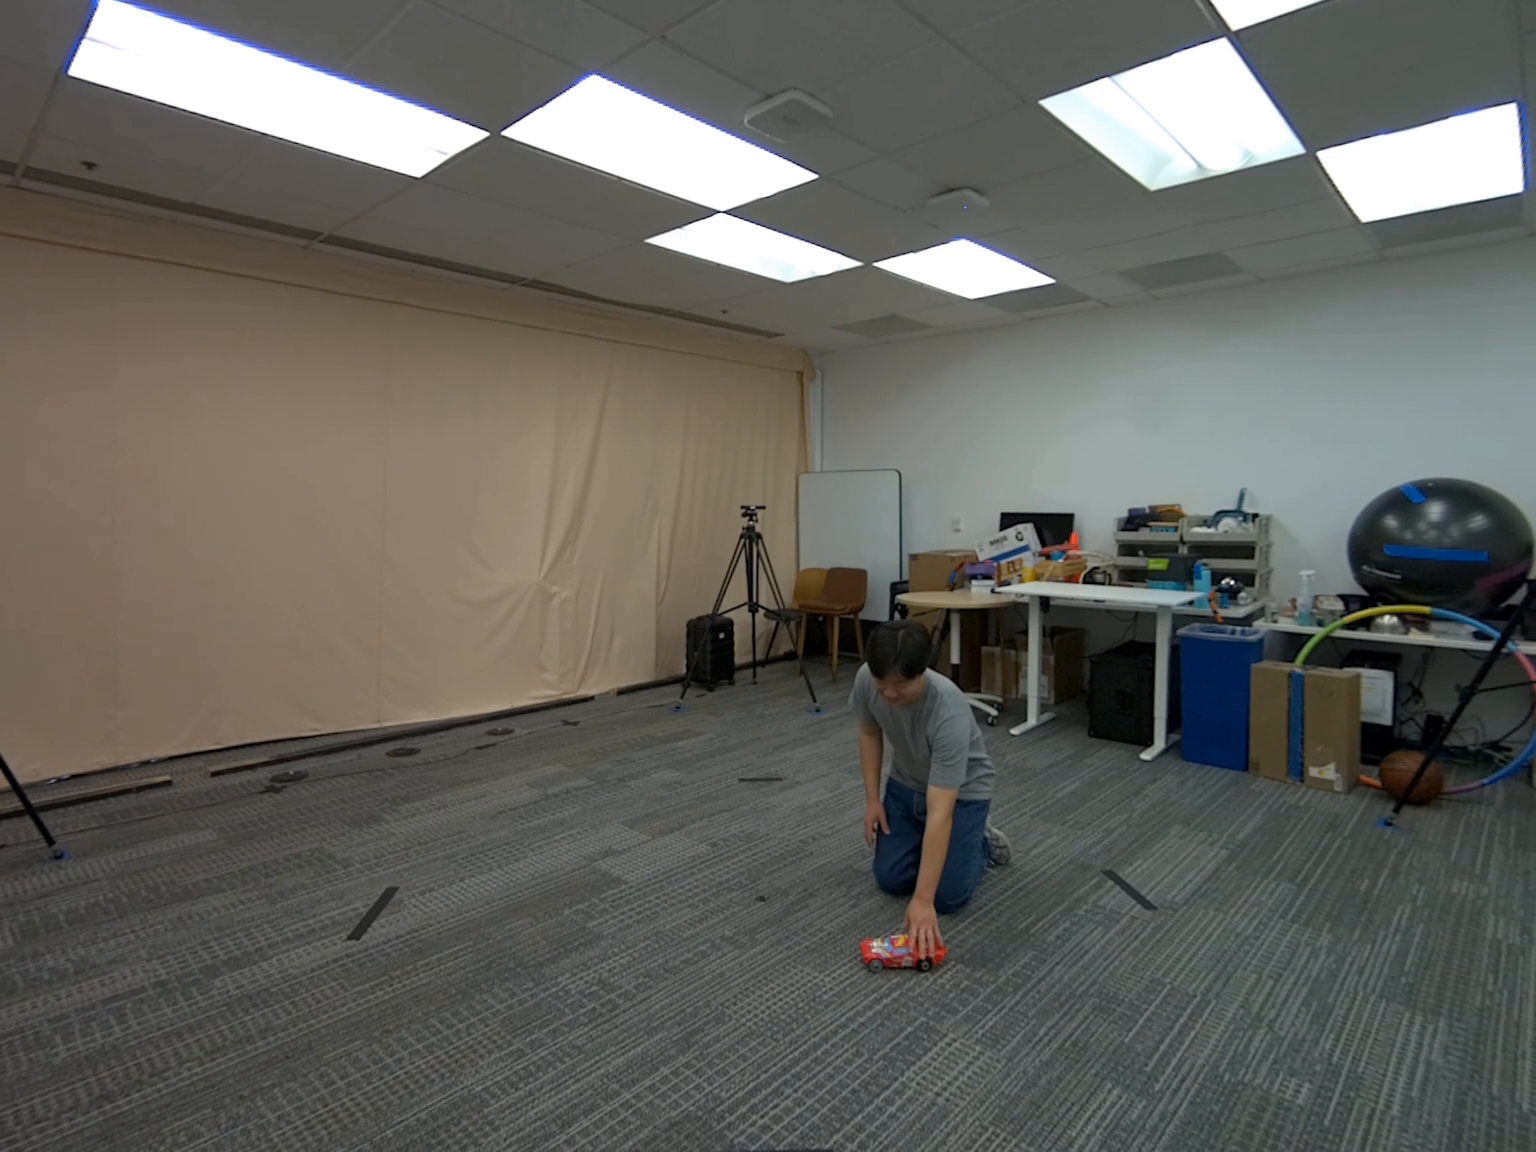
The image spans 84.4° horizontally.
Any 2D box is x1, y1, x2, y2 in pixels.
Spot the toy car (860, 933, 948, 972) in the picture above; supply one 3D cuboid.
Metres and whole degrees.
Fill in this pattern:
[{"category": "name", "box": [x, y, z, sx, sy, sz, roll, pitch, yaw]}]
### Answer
[{"category": "toy car", "box": [0.420, 1.146, 2.560, 0.254, 0.083, 0.131, -11, 4, -1]}]
